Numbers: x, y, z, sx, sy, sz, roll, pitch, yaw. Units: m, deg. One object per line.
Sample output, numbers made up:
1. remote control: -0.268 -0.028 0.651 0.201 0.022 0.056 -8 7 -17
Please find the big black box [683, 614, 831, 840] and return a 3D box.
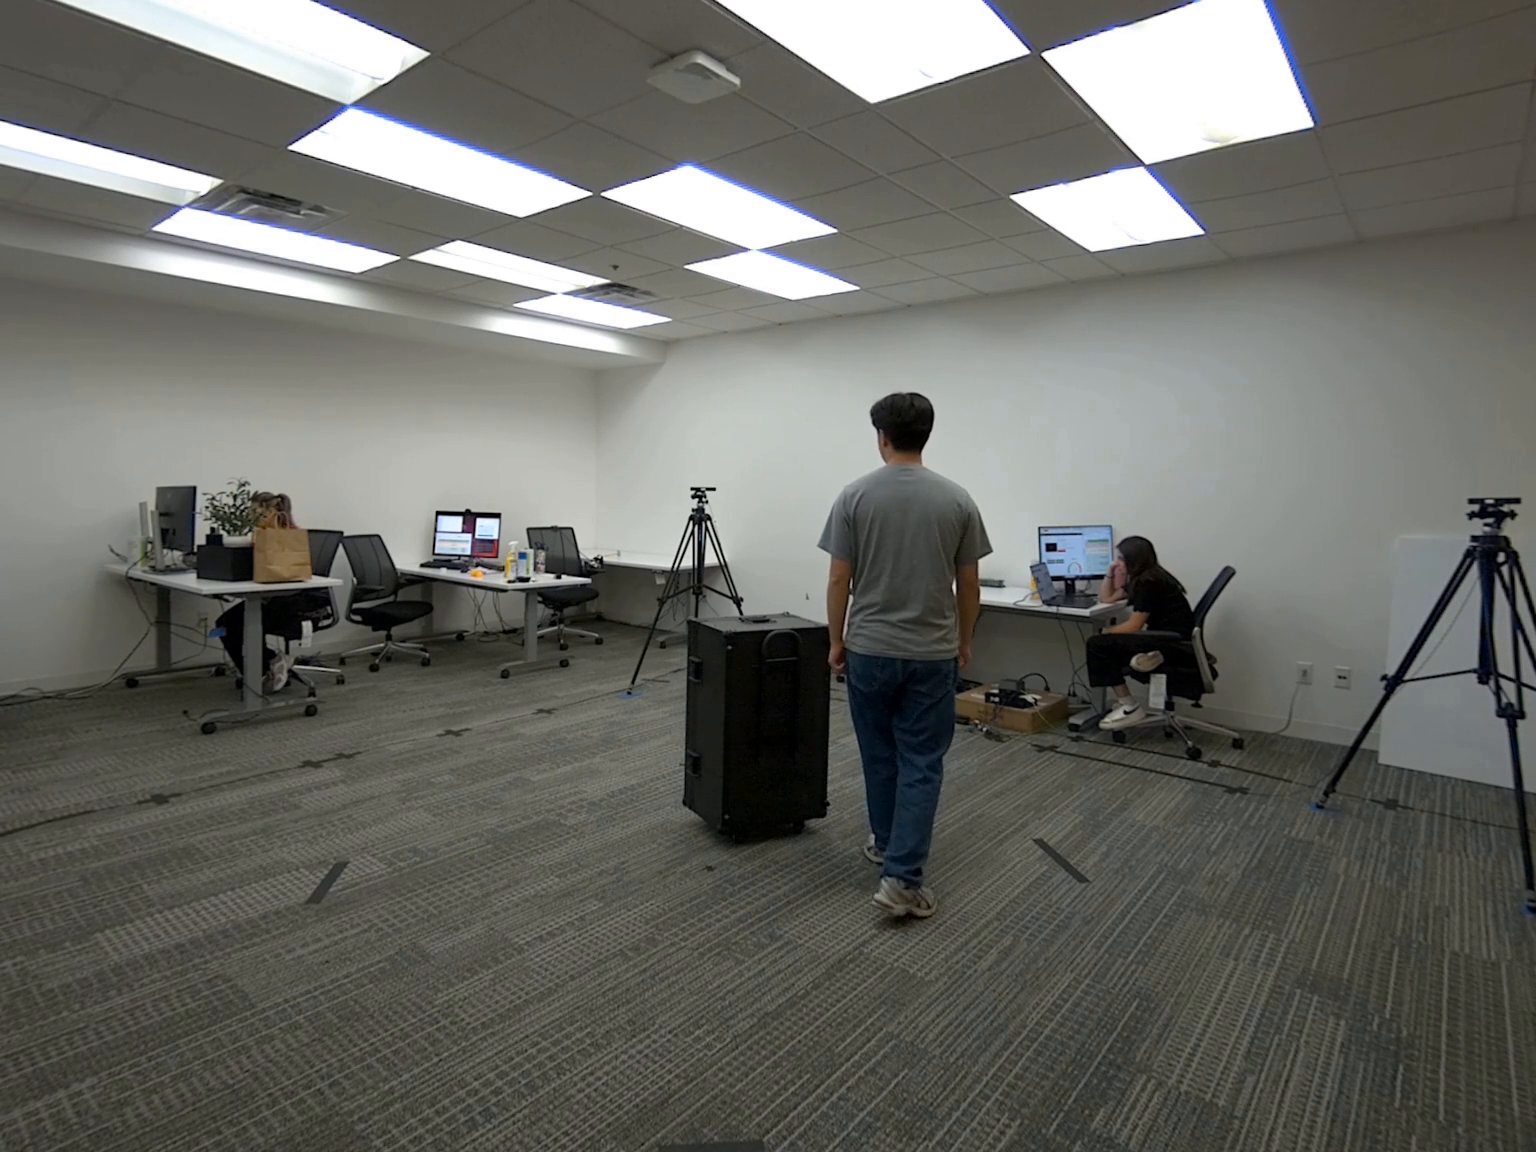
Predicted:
1. big black box: -0.048 0.606 3.470 0.508 0.858 0.408 0 5 -28
